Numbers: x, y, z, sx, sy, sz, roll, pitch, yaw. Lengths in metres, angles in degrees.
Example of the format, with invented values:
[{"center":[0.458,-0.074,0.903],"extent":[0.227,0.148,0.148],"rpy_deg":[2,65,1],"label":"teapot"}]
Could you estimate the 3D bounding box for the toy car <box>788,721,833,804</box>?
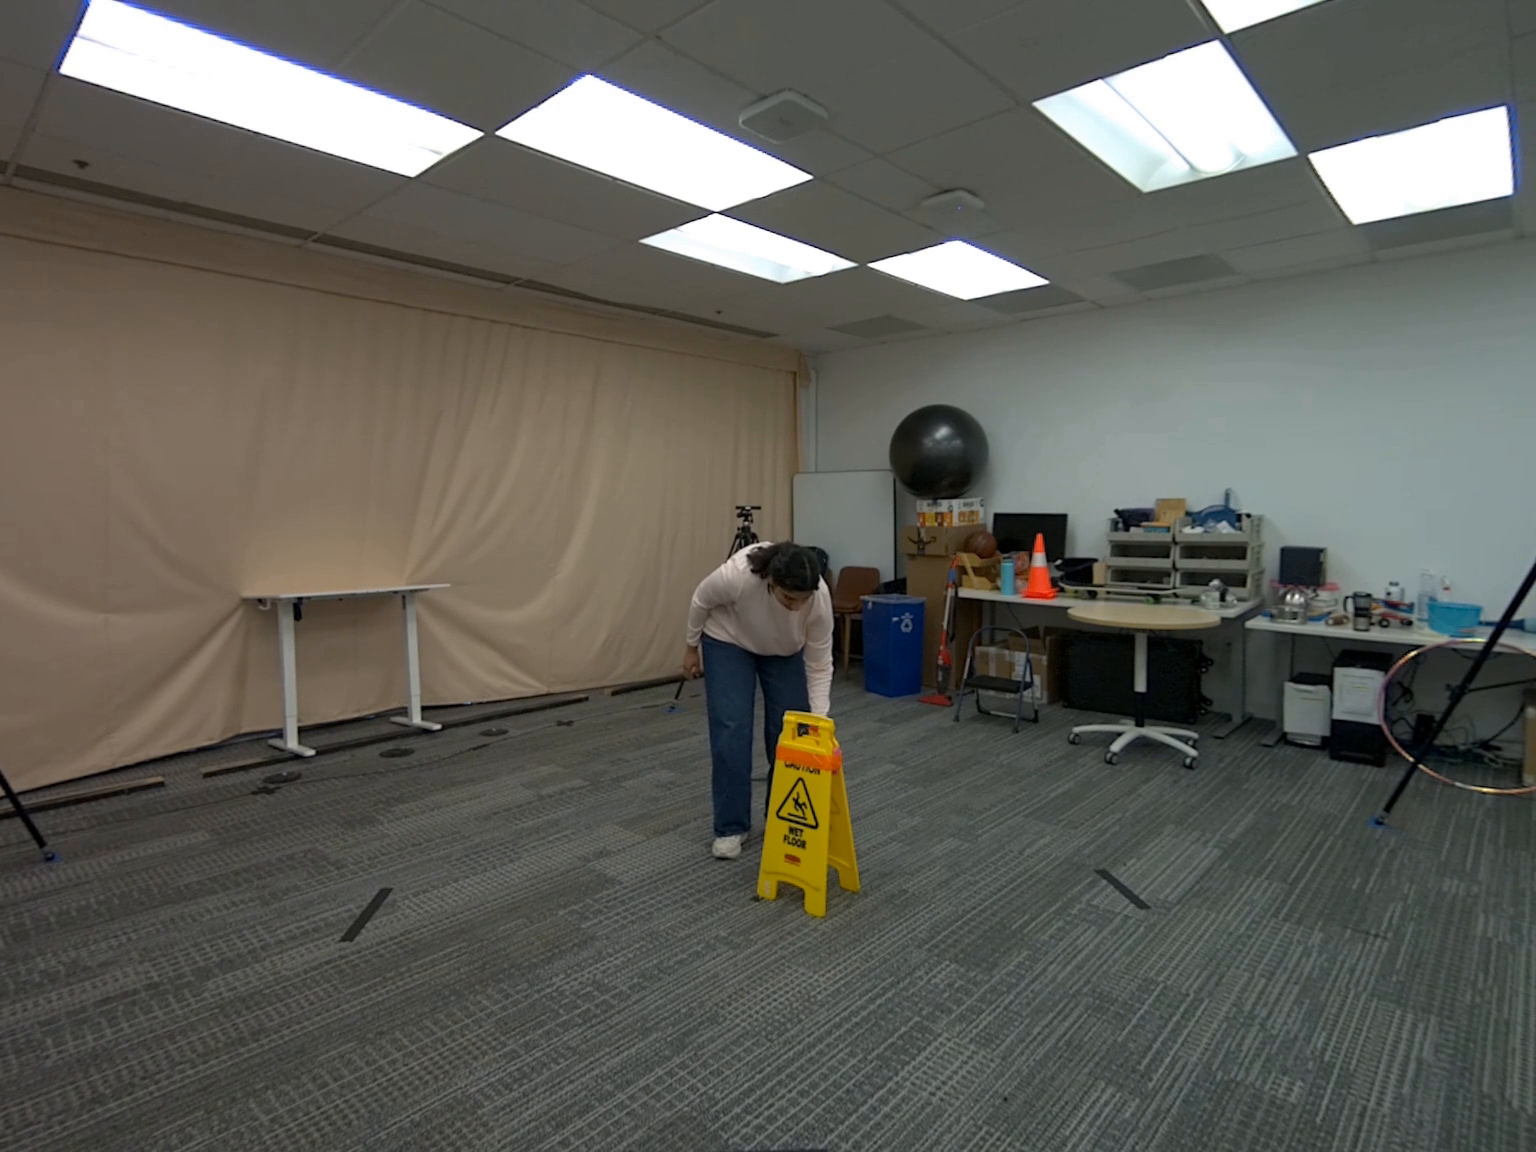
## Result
[{"center":[0.152,0.676,3.077],"extent":[0.135,0.250,0.082],"rpy_deg":[21,36,35],"label":"toy car"}]
